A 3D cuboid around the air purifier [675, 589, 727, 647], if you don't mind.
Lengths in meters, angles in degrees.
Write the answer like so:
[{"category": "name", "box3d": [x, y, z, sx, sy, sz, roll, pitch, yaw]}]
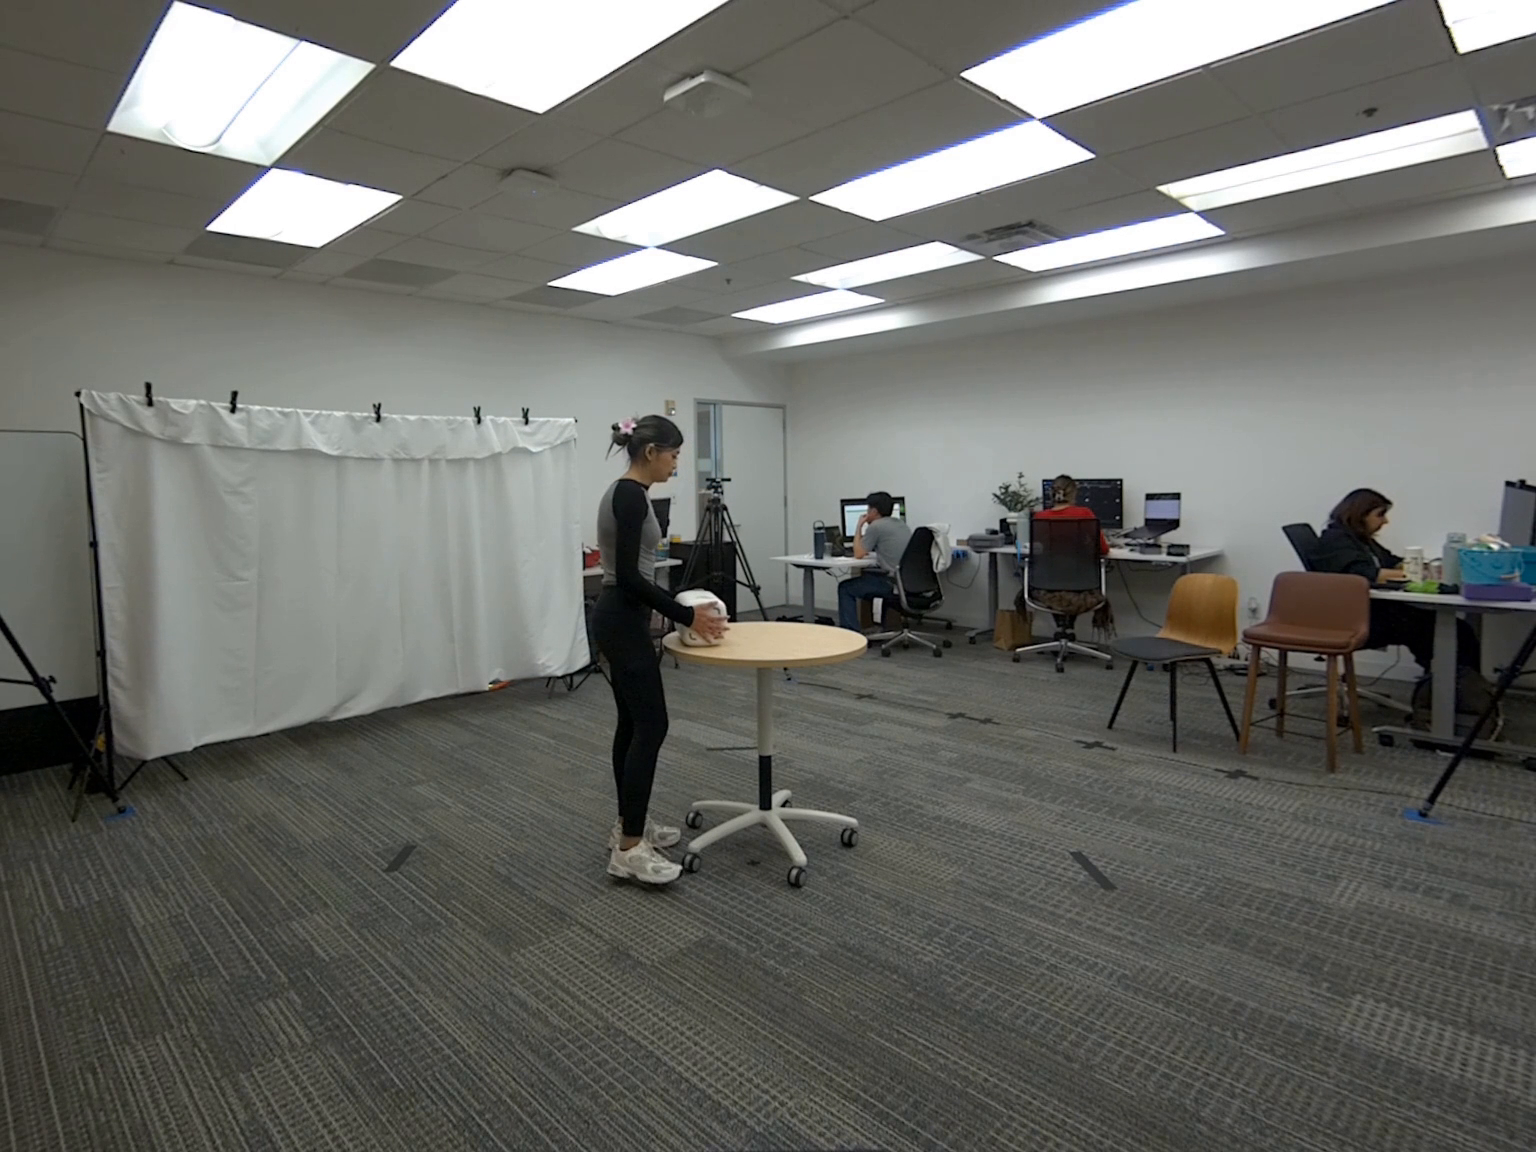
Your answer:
[{"category": "air purifier", "box3d": [-0.251, 0.155, 3.174, 0.169, 0.171, 0.269, -1, 5, -11]}]
